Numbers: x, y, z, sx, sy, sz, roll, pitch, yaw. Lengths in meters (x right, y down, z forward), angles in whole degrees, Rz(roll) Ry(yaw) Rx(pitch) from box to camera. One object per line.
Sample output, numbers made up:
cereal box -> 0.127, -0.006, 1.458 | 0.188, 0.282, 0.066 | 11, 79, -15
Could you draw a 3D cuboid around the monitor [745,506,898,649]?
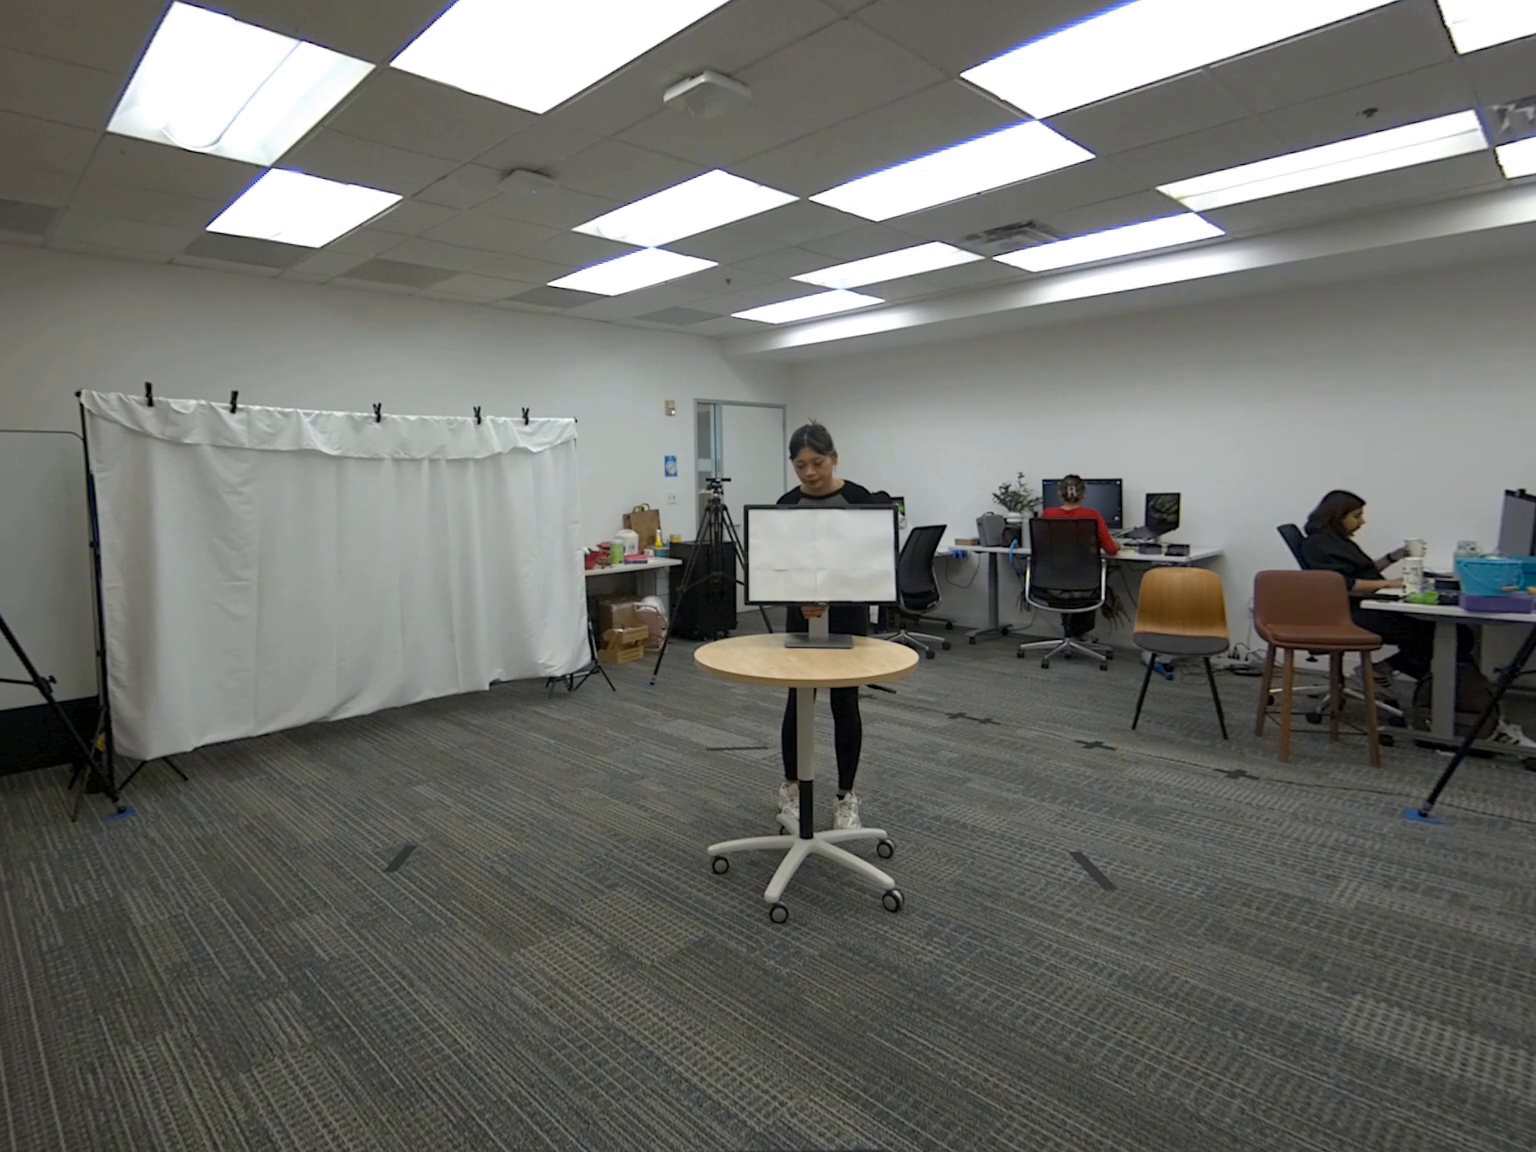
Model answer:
monitor -> 0.178, 0.003, 3.116 | 0.538, 0.520, 0.188 | 0, 4, -2
